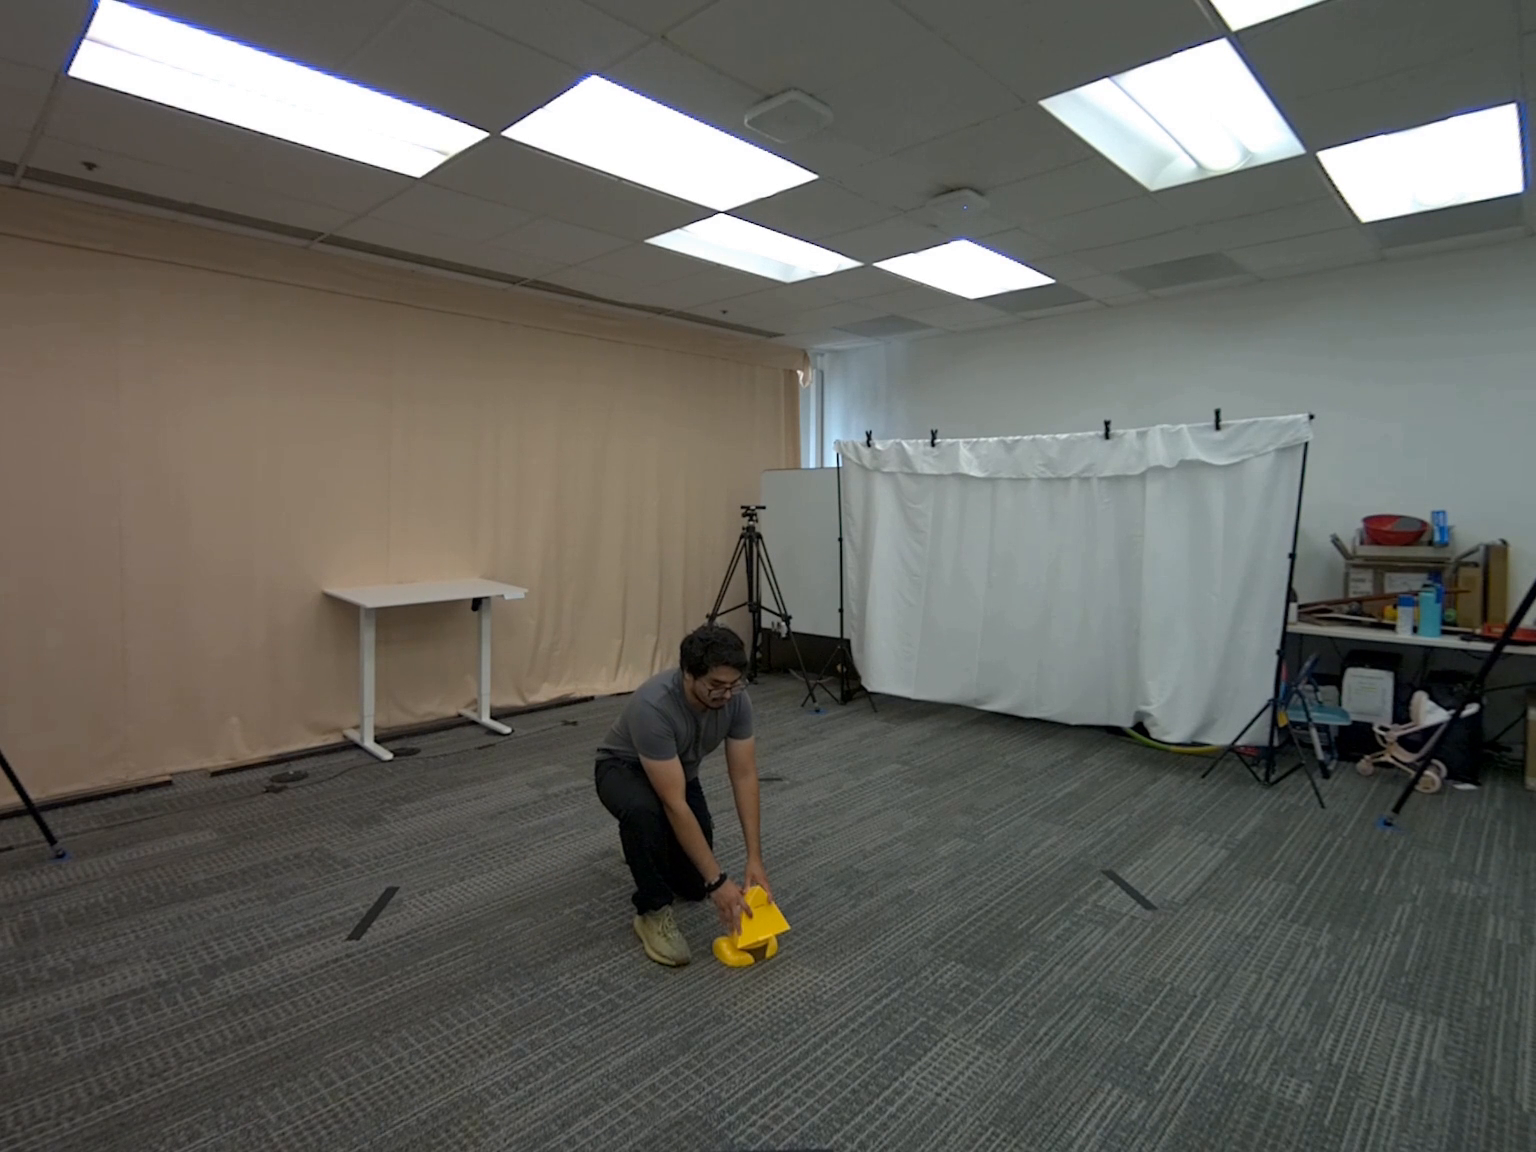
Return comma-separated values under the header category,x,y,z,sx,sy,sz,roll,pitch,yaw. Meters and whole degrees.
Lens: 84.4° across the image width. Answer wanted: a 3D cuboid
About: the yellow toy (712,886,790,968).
category,x,y,z,sx,sy,sz,roll,pitch,yaw
yellow toy,-0.063,1.067,2.620,0.199,0.230,0.199,-3,5,-36
